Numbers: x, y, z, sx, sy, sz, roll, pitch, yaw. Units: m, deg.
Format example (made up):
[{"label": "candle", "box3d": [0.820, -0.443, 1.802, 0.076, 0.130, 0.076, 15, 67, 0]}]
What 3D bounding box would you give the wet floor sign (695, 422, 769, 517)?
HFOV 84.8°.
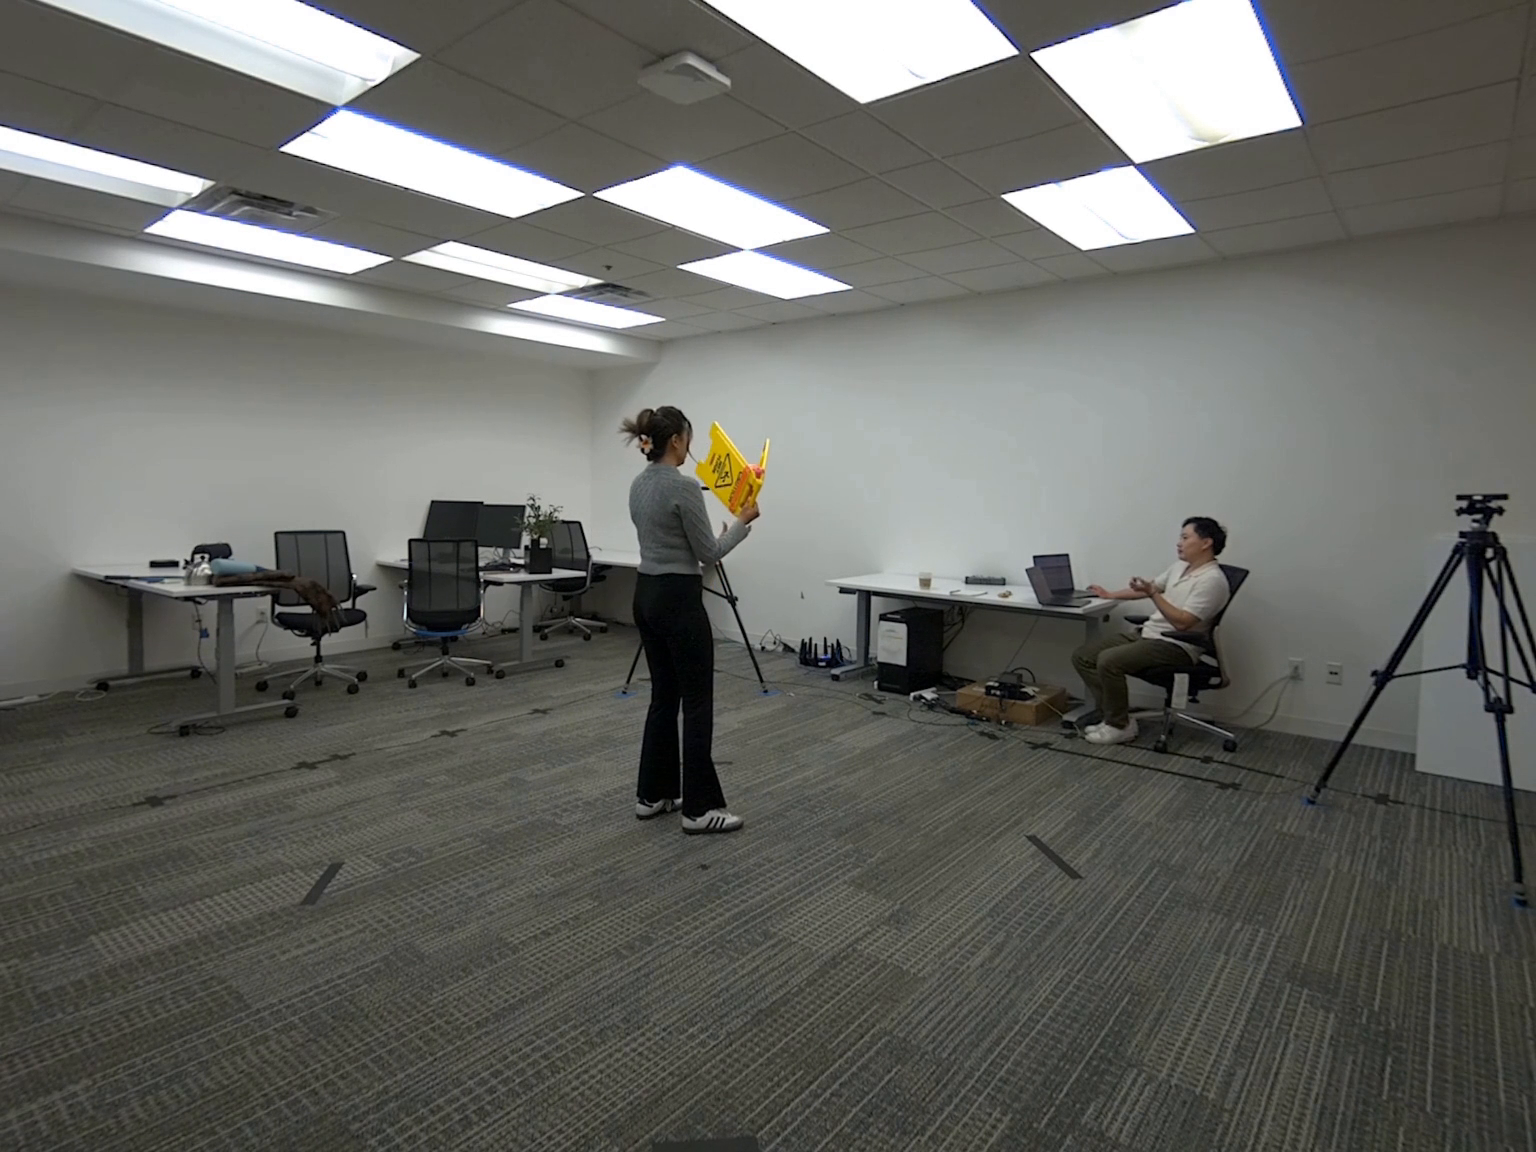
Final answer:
[{"label": "wet floor sign", "box3d": [-0.128, -0.456, 3.932, 0.284, 0.279, 0.667, 13, 23, -18]}]
